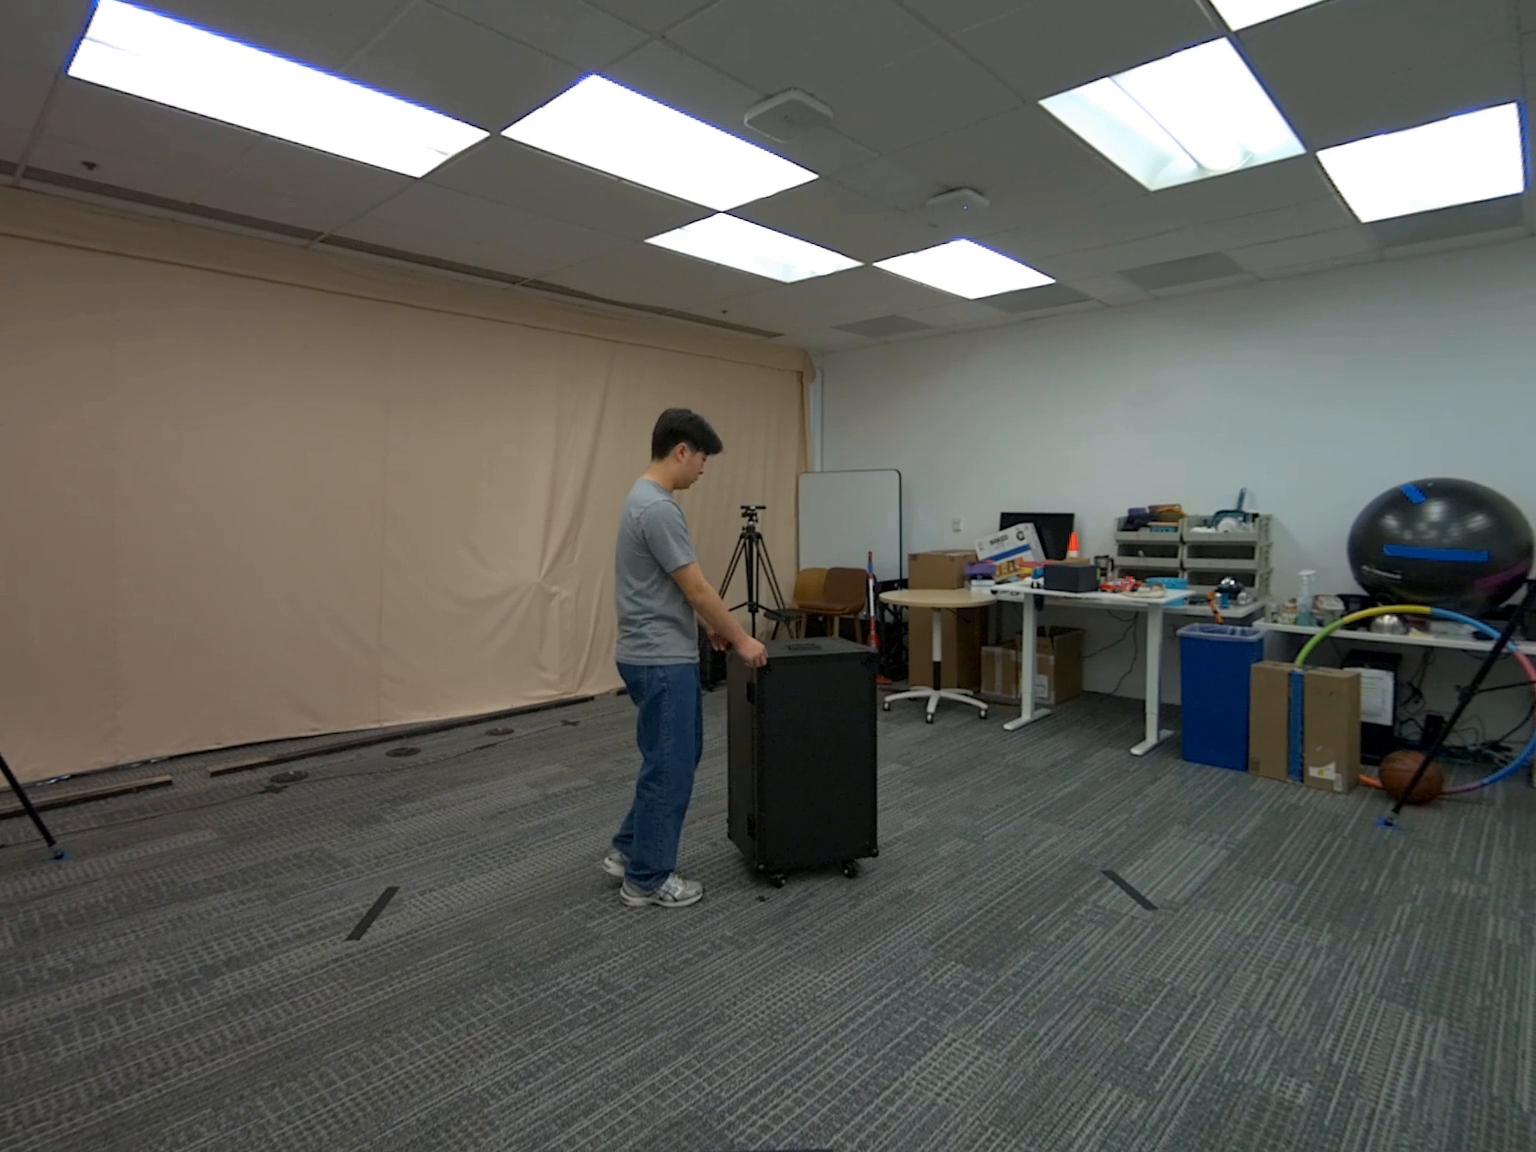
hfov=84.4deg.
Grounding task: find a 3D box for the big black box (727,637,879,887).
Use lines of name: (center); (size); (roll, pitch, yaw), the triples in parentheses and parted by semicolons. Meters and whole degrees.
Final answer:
big black box: (0.118, 0.696, 3.251); (0.512, 0.860, 0.404); (-2, 2, -19)
